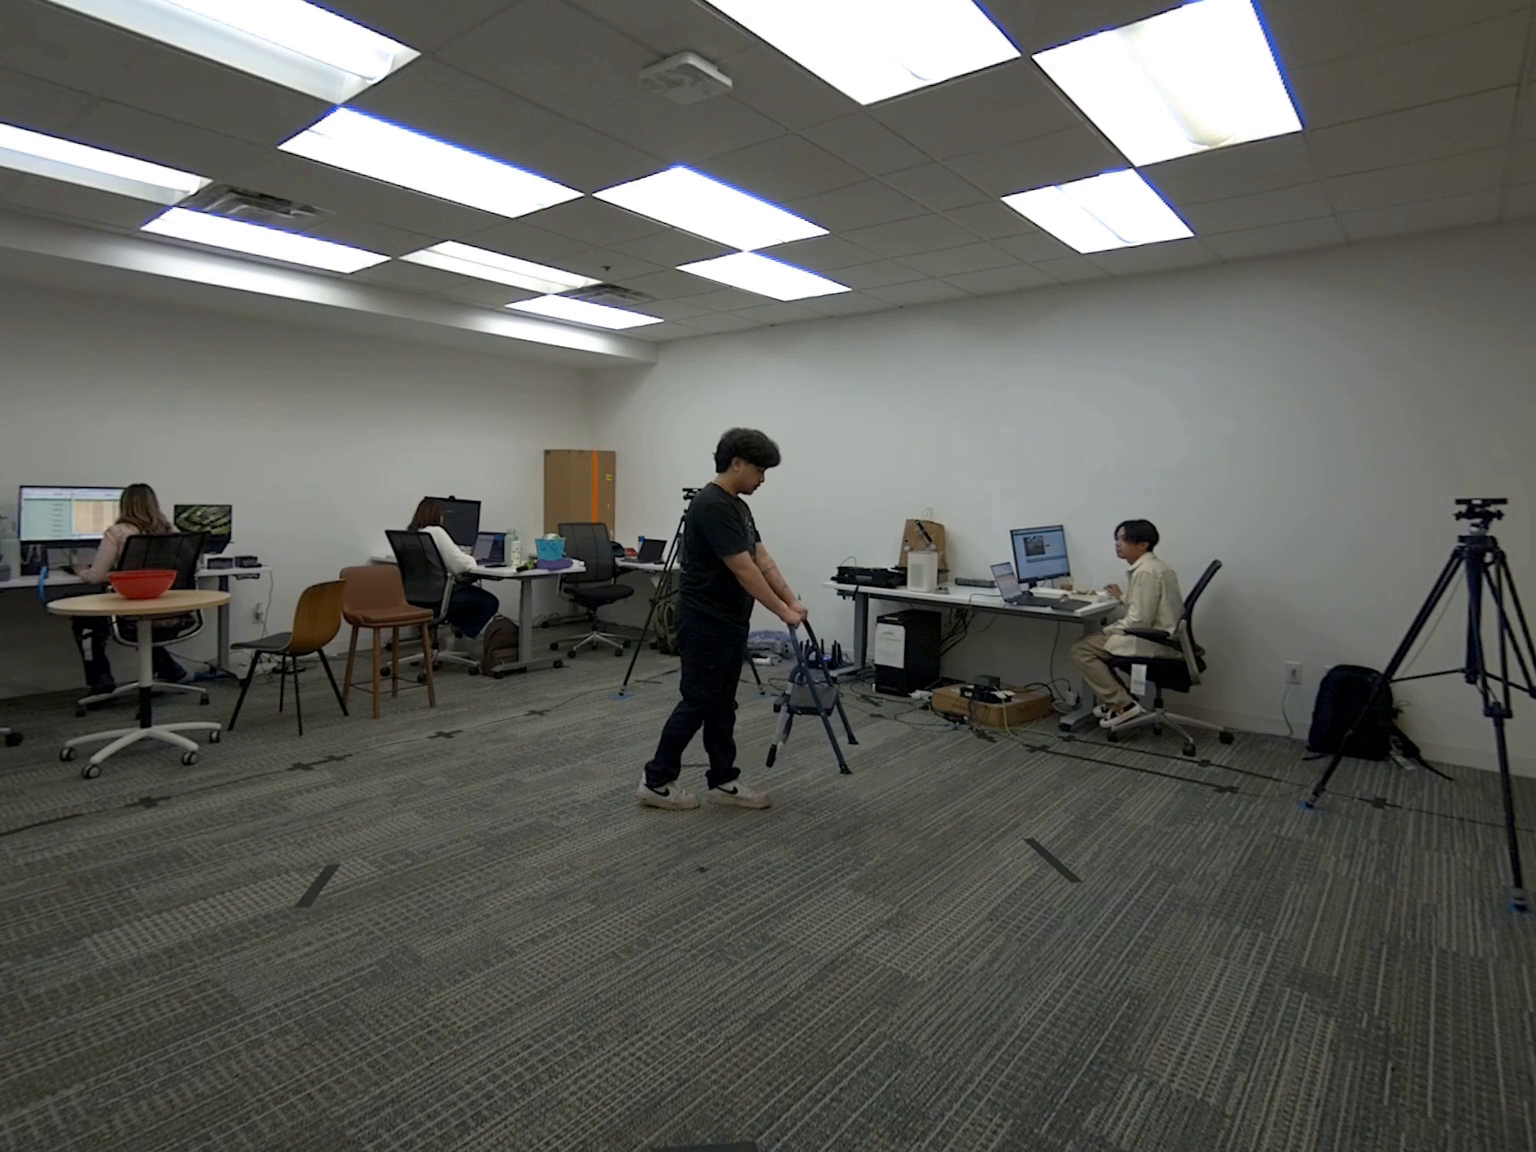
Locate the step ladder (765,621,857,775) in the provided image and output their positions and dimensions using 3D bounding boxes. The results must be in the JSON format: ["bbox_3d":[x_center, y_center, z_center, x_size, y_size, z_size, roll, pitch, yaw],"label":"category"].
[{"bbox_3d":[0.188,0.475,3.661,0.354,0.604,0.426,0,4,11],"label":"step ladder"}]
